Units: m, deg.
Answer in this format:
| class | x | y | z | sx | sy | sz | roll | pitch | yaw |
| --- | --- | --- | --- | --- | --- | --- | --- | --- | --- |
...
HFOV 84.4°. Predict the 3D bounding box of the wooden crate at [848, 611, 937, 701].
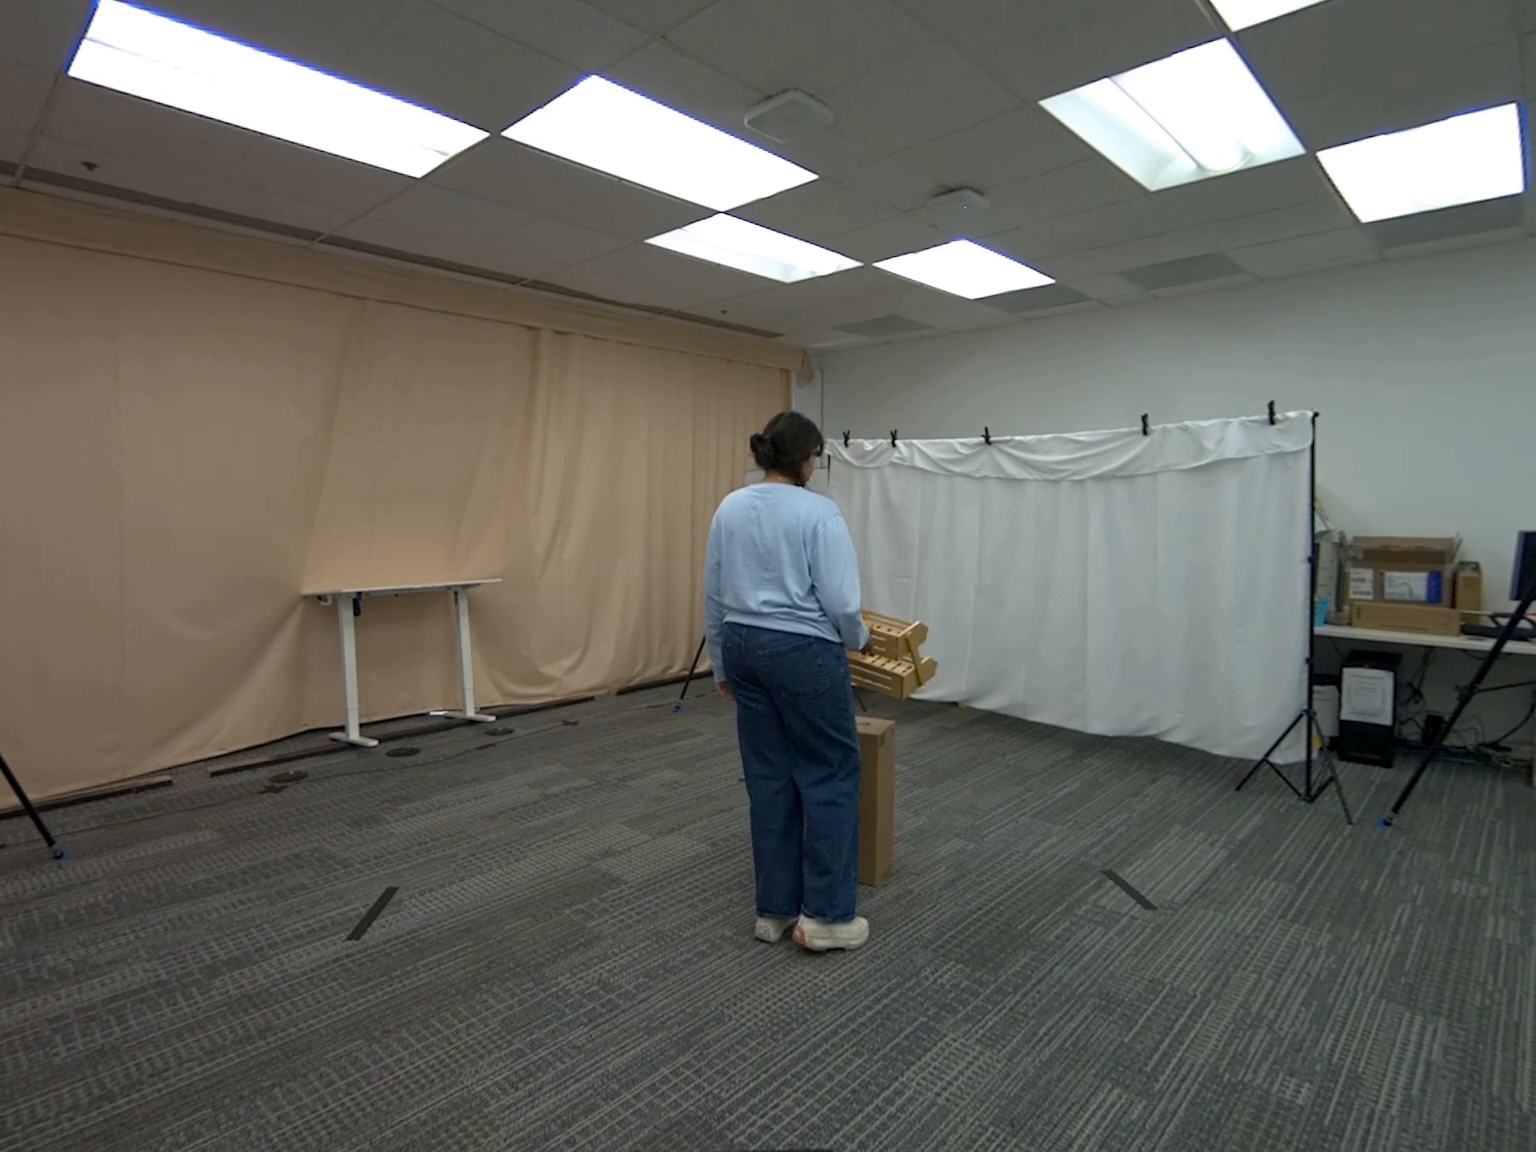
| class | x | y | z | sx | sy | sz | roll | pitch | yaw |
| --- | --- | --- | --- | --- | --- | --- | --- | --- | --- |
| wooden crate | 0.412 | 0.239 | 3.017 | 0.336 | 0.270 | 0.295 | 13 | 24 | 37 |
